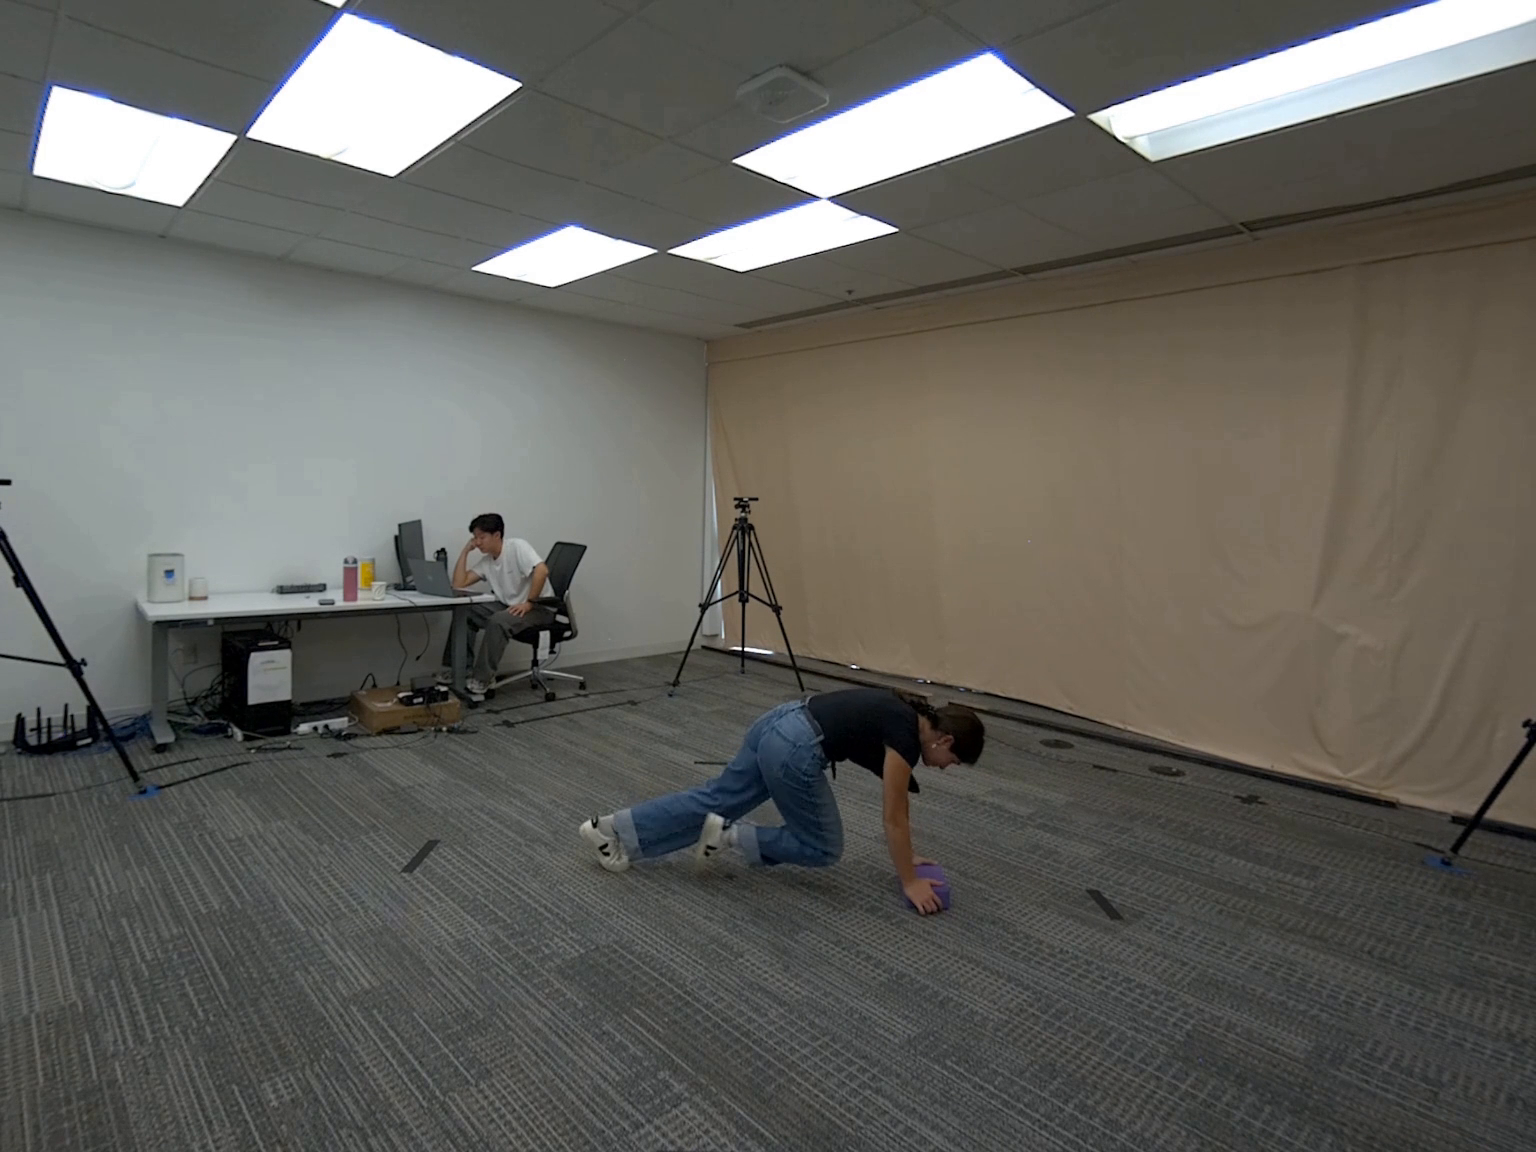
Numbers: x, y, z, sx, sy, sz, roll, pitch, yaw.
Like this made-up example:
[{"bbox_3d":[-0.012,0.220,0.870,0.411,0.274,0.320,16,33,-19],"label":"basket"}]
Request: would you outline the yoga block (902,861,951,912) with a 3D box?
[{"bbox_3d":[0.547,1.099,2.986,0.149,0.076,0.229,0,4,2],"label":"yoga block"}]
